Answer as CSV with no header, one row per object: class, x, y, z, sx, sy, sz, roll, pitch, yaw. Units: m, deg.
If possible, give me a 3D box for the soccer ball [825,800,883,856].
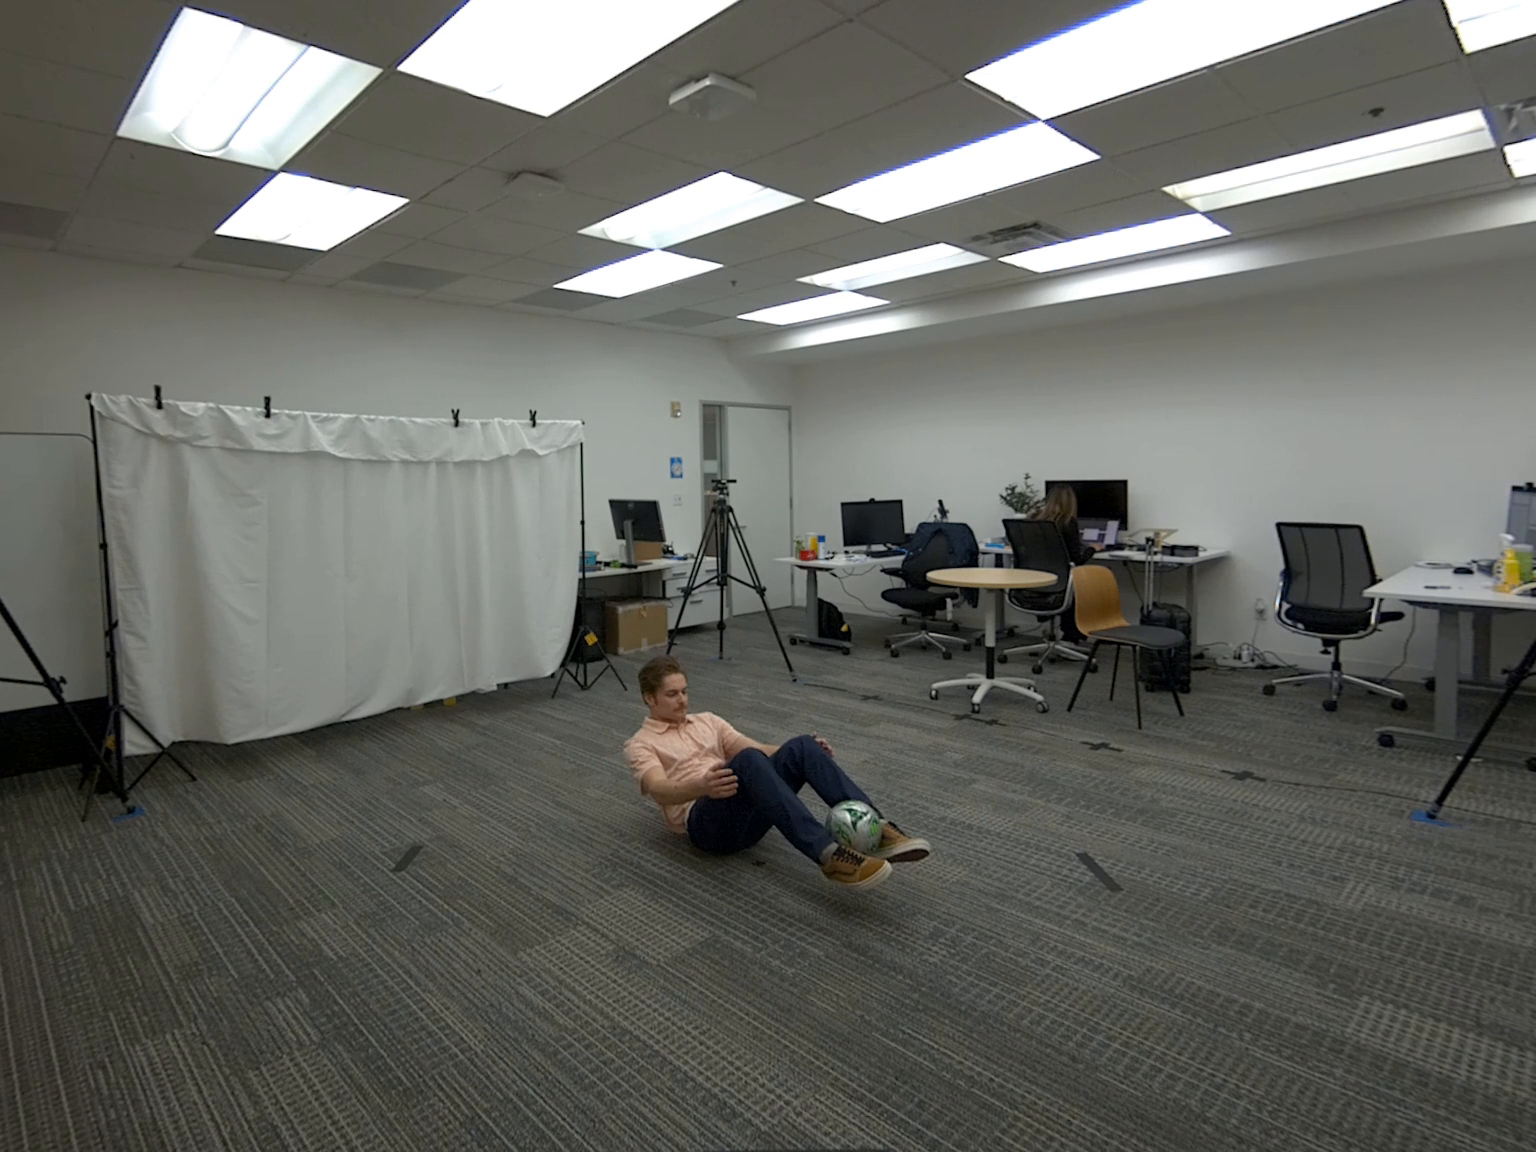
soccer ball,0.275,0.840,2.800,0.187,0.187,0.188,-1,5,-2
